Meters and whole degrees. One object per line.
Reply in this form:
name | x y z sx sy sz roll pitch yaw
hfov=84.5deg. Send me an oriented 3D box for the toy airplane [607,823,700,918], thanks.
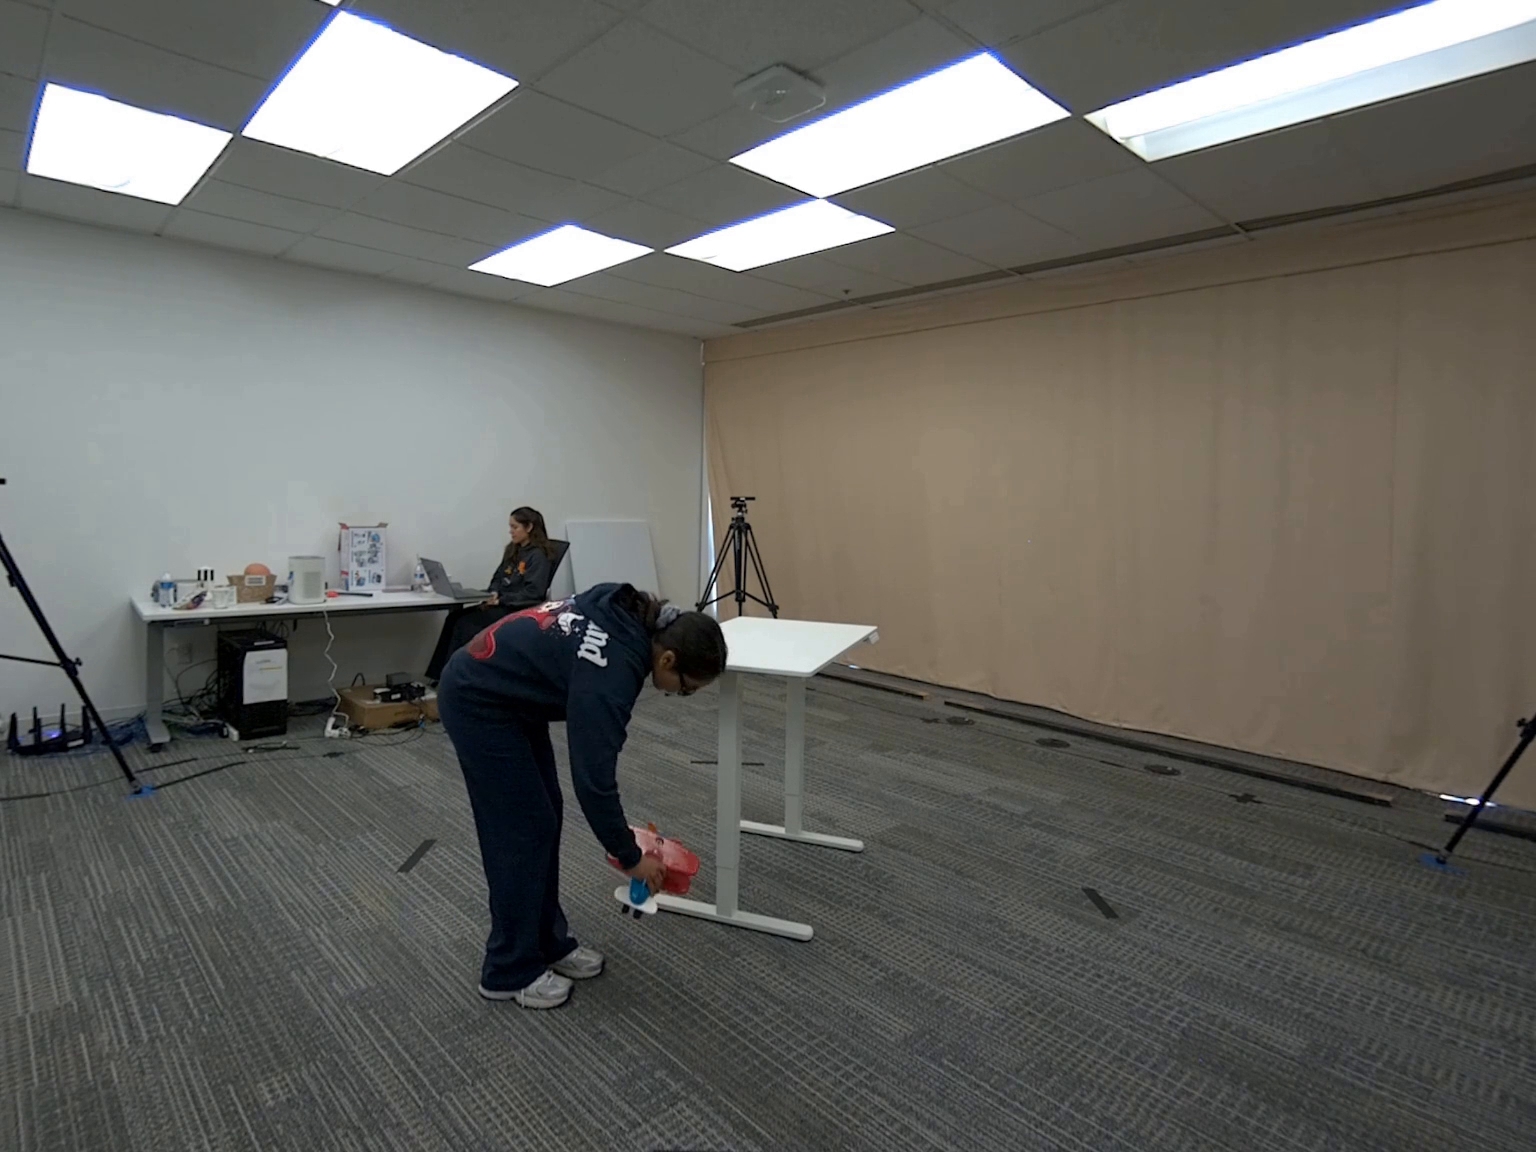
toy airplane | -0.321 0.829 2.329 0.245 0.156 0.266 16 14 -28
